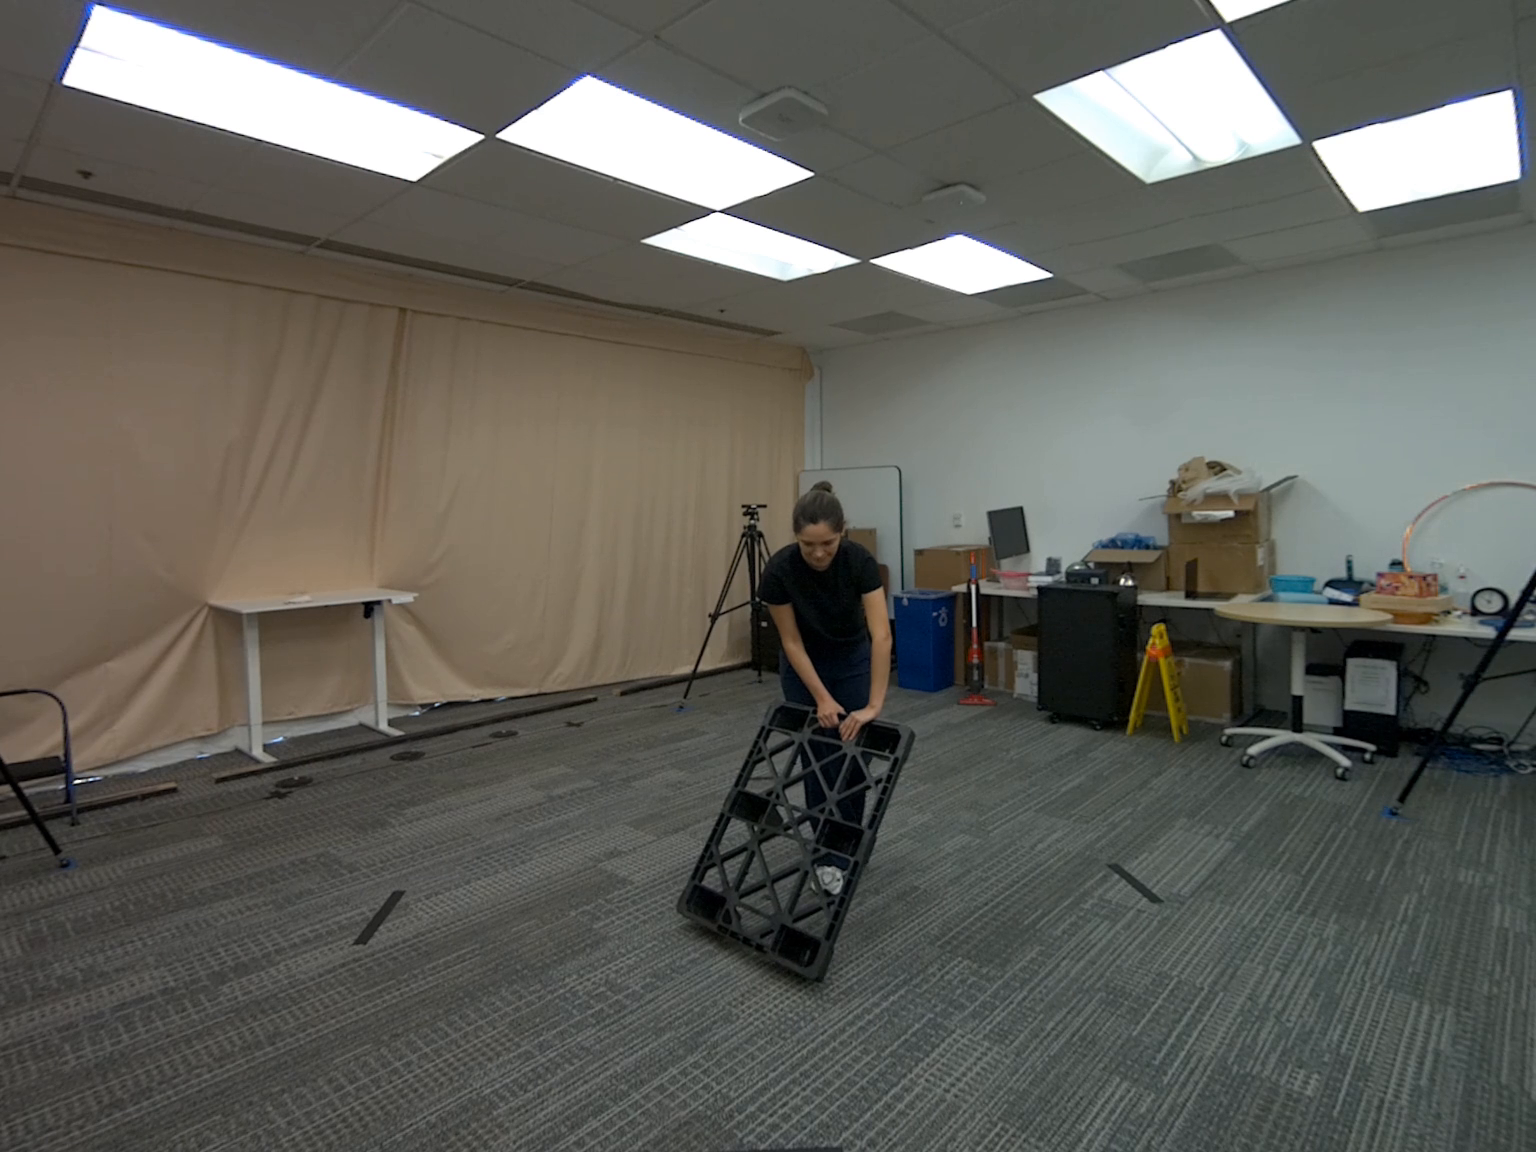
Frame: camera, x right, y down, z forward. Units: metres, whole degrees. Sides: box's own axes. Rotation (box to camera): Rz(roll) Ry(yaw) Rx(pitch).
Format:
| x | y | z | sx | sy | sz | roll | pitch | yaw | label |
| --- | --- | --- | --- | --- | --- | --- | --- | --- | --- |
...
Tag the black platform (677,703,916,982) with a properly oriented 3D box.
| x | y | z | sx | sy | sz | roll | pitch | yaw | label |
| --- | --- | --- | --- | --- | --- | --- | --- | --- | --- |
| 0.122 | 0.831 | 2.764 | 0.625 | 0.806 | 0.138 | 3 | -33 | 44 | black platform |
